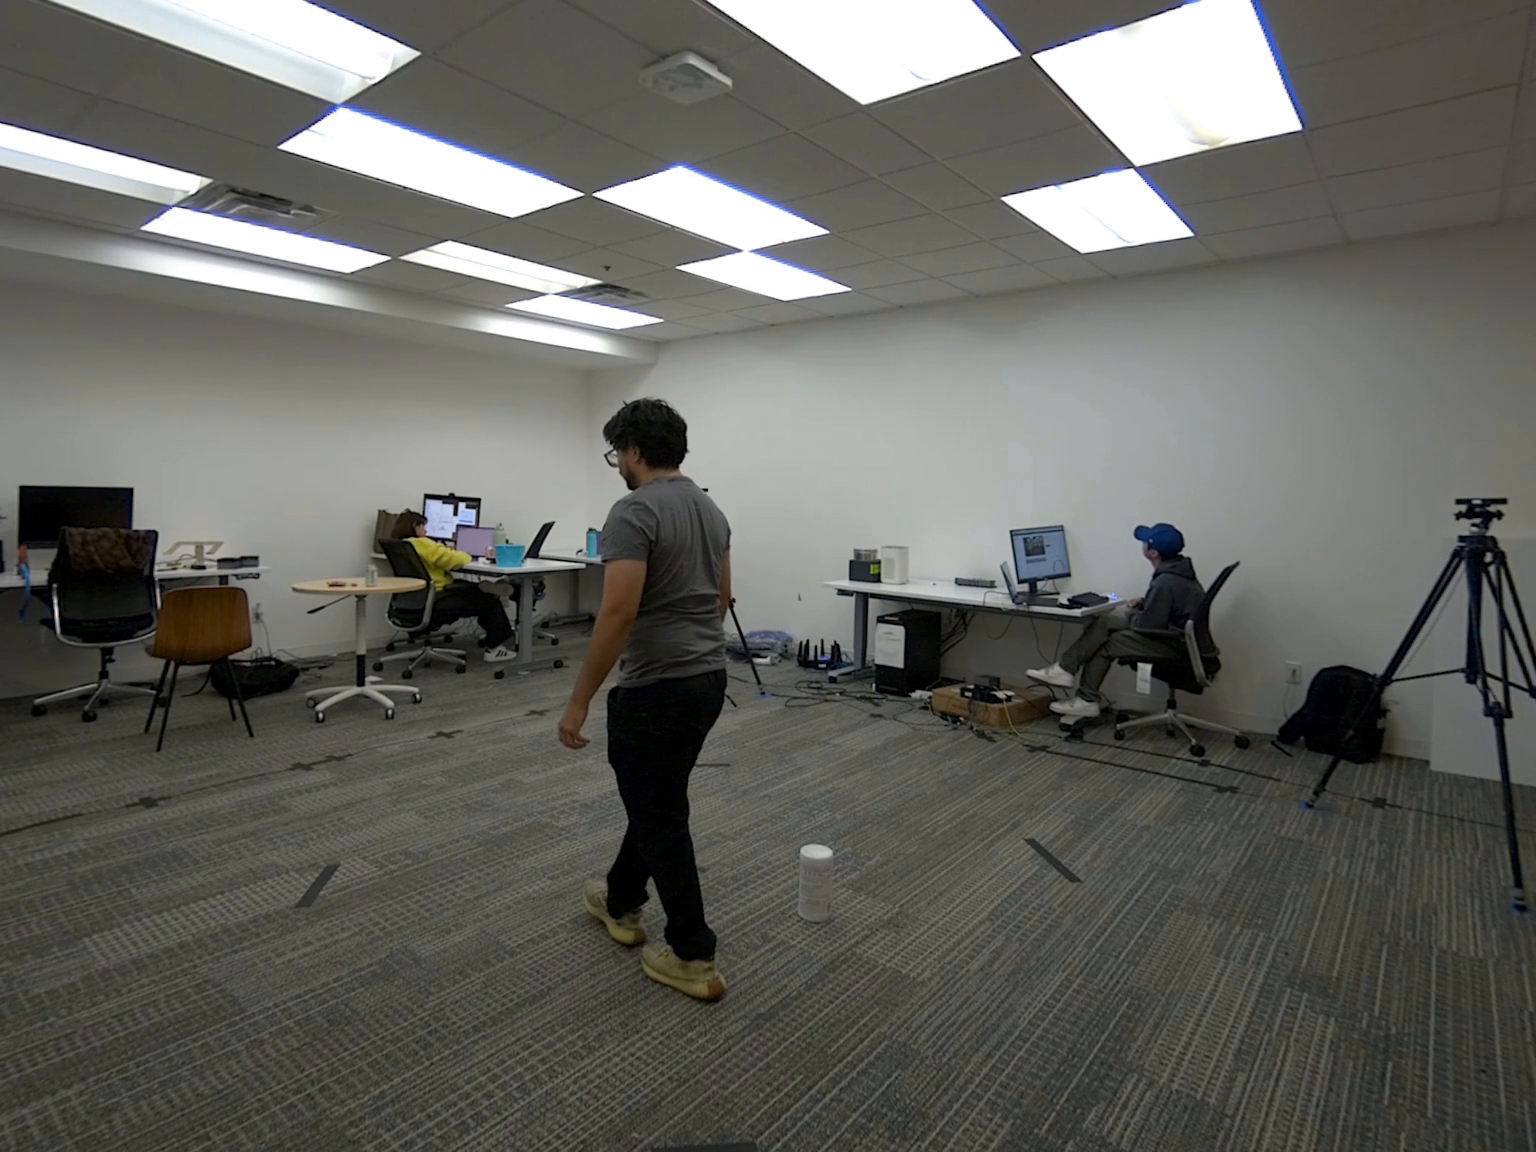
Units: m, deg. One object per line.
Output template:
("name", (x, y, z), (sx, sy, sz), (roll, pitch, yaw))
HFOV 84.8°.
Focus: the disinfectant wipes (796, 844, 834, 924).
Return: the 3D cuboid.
("disinfectant wipes", (0.151, 1.000, 2.786), (0.118, 0.217, 0.118), (-3, 4, -2))
